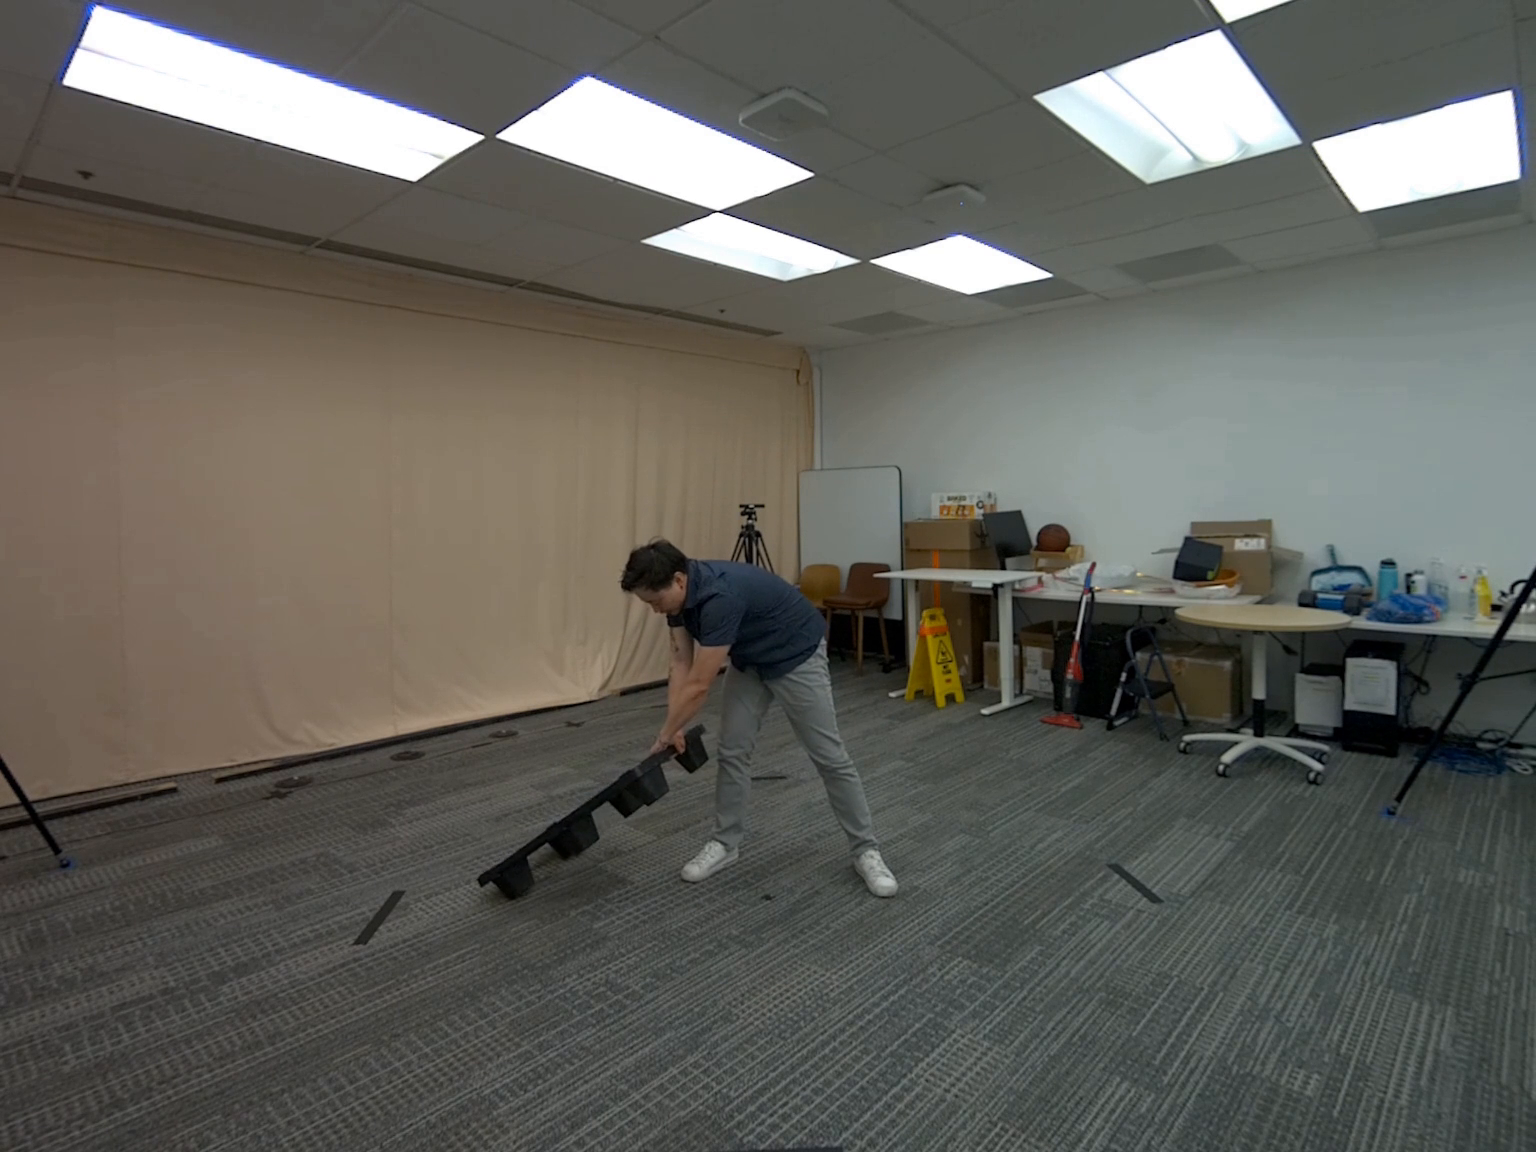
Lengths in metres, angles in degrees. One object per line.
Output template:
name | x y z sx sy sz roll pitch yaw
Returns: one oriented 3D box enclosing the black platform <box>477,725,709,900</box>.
black platform | -0.606 0.874 3.110 0.812 0.144 0.595 -37 -6 18
